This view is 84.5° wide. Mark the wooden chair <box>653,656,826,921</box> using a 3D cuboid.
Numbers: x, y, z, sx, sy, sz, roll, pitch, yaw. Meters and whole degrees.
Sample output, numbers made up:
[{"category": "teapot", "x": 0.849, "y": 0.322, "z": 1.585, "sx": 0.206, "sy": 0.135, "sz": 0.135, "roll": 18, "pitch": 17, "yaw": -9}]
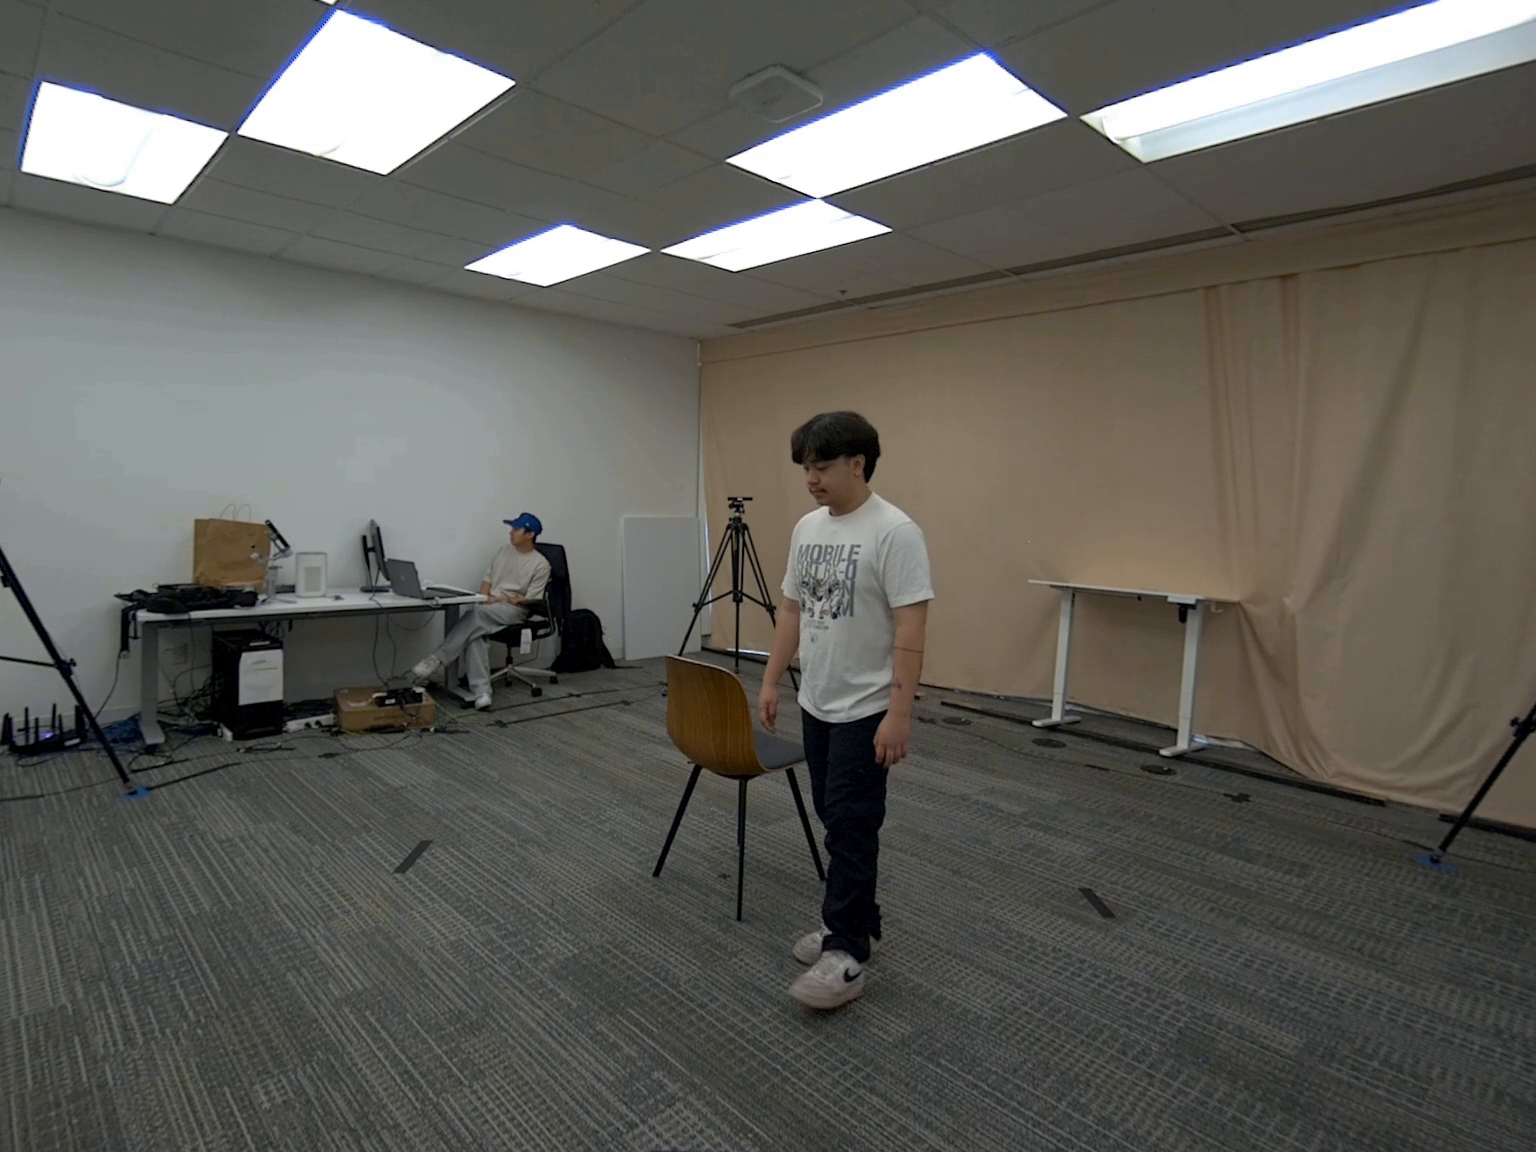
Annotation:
[{"category": "wooden chair", "x": -0.094, "y": 0.684, "z": 3.063, "sx": 0.490, "sy": 0.873, "sz": 0.512, "roll": 4, "pitch": 9, "yaw": 44}]
